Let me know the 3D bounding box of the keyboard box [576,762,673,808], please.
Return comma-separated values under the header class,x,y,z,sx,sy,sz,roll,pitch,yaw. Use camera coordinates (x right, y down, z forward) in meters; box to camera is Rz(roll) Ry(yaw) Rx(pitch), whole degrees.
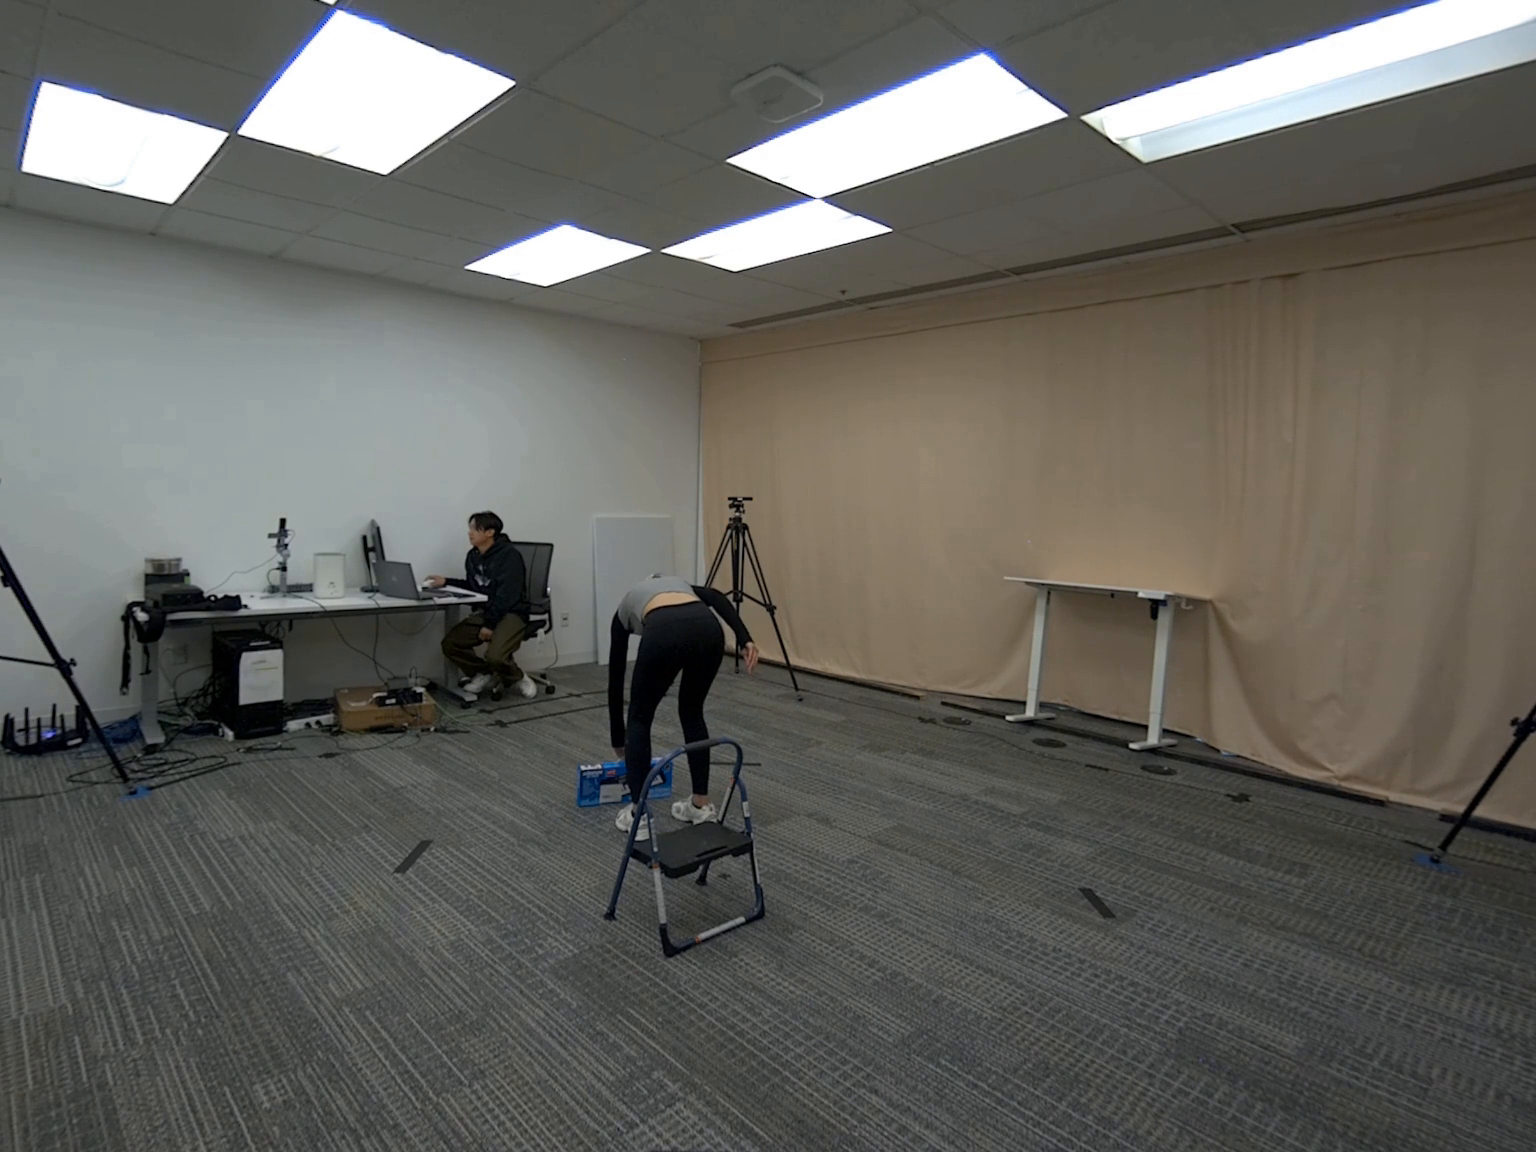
class,x,y,z,sx,sy,sz,roll,pitch,yaw
keyboard box,-0.664,0.942,3.855,0.429,0.175,0.060,0,8,-24
